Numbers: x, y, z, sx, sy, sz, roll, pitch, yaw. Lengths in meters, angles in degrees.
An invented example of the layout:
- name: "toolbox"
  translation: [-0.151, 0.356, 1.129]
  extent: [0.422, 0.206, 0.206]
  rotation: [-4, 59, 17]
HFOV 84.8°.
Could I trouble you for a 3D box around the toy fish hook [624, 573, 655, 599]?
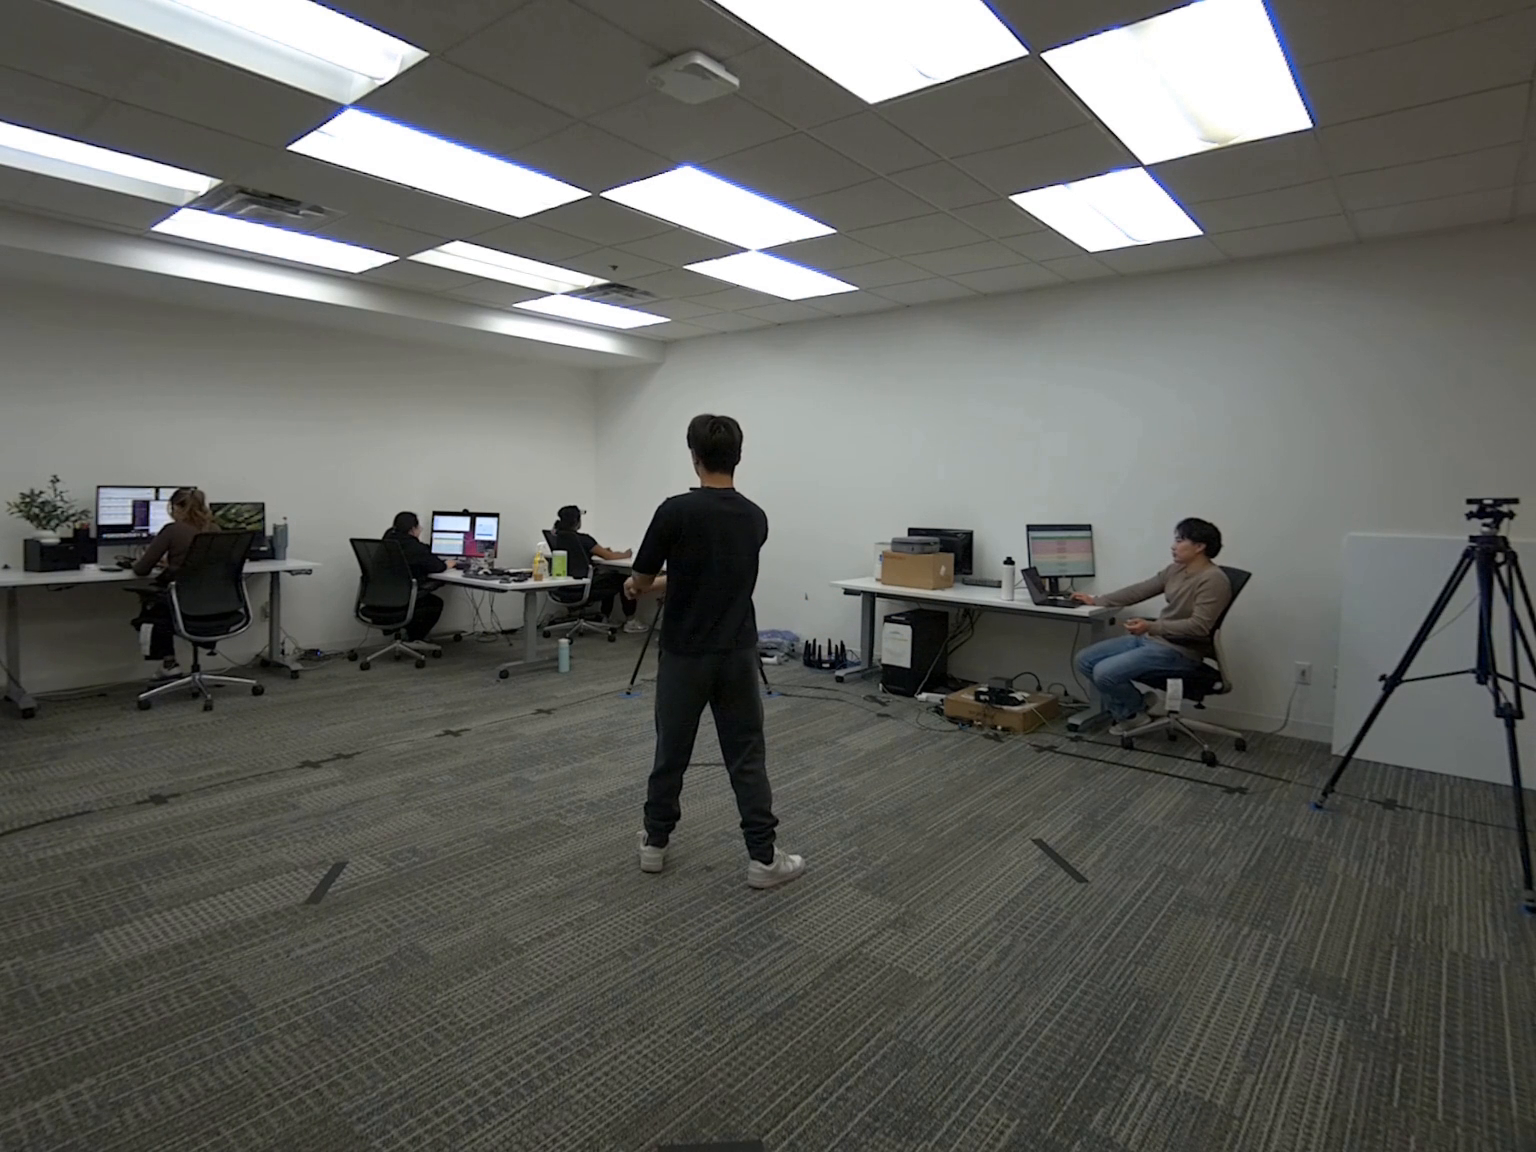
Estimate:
- name: "toy fish hook"
  translation: [-0.546, 0.040, 3.523]
  extent: [0.048, 0.224, 0.507]
  rotation: [39, 12, -3]
